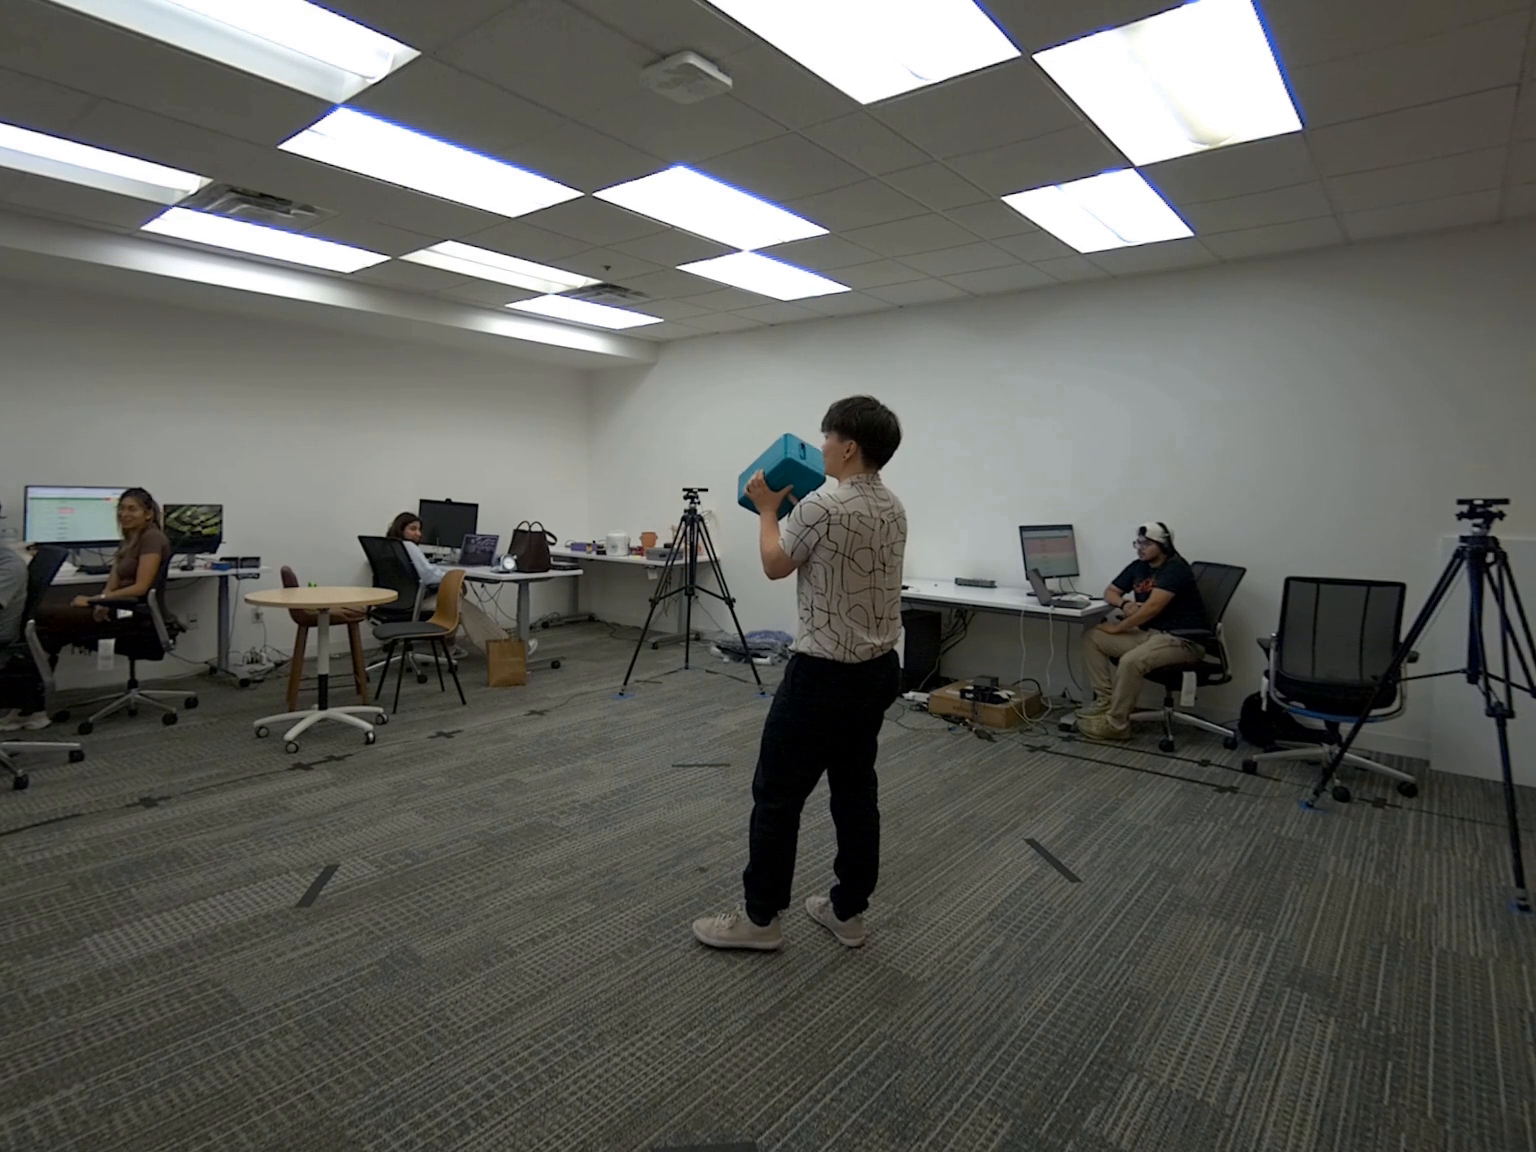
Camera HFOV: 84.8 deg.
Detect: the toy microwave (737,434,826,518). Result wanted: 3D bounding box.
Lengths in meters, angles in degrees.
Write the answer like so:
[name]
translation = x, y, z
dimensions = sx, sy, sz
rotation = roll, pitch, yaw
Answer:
[toy microwave]
translation = 0.034, -0.332, 2.856
dimensions = 0.178, 0.156, 0.288
rotation = 26, -45, -27
